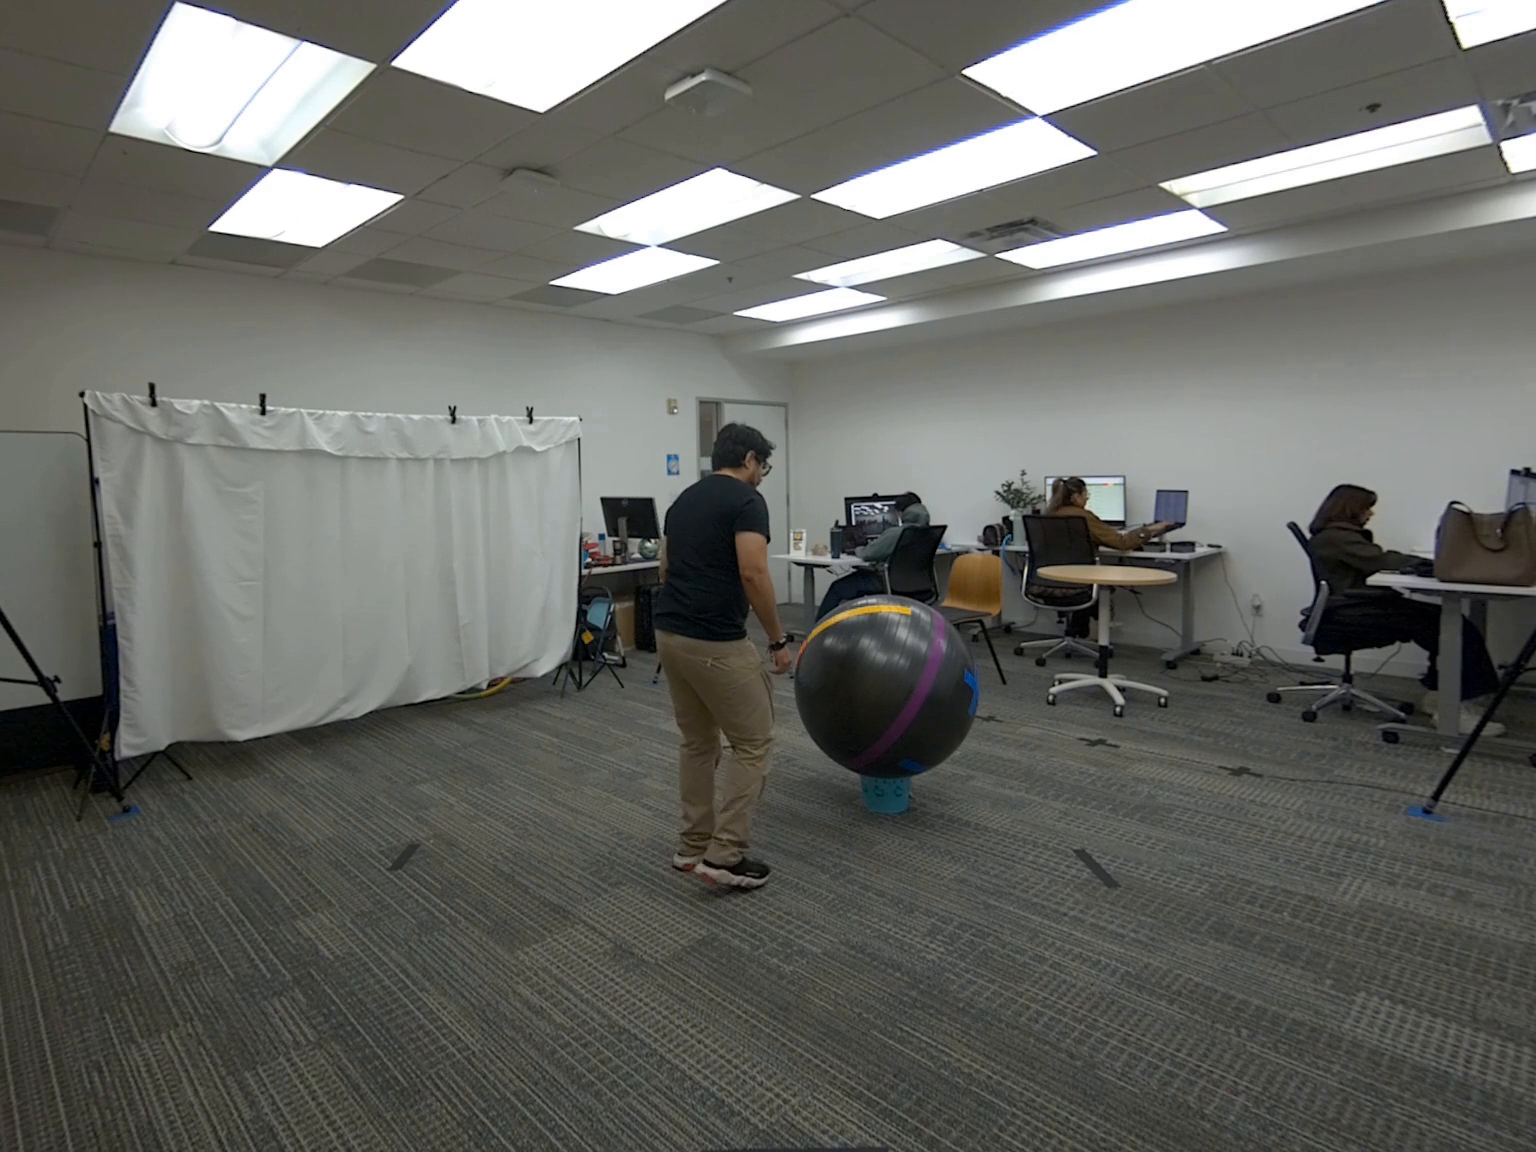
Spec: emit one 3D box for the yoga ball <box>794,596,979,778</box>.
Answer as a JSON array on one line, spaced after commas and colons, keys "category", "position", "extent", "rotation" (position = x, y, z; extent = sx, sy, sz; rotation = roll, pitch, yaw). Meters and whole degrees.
[{"category": "yoga ball", "position": [0.489, 0.461, 3.586], "extent": [0.757, 0.755, 0.762], "rotation": [-1, 5, -2]}]
